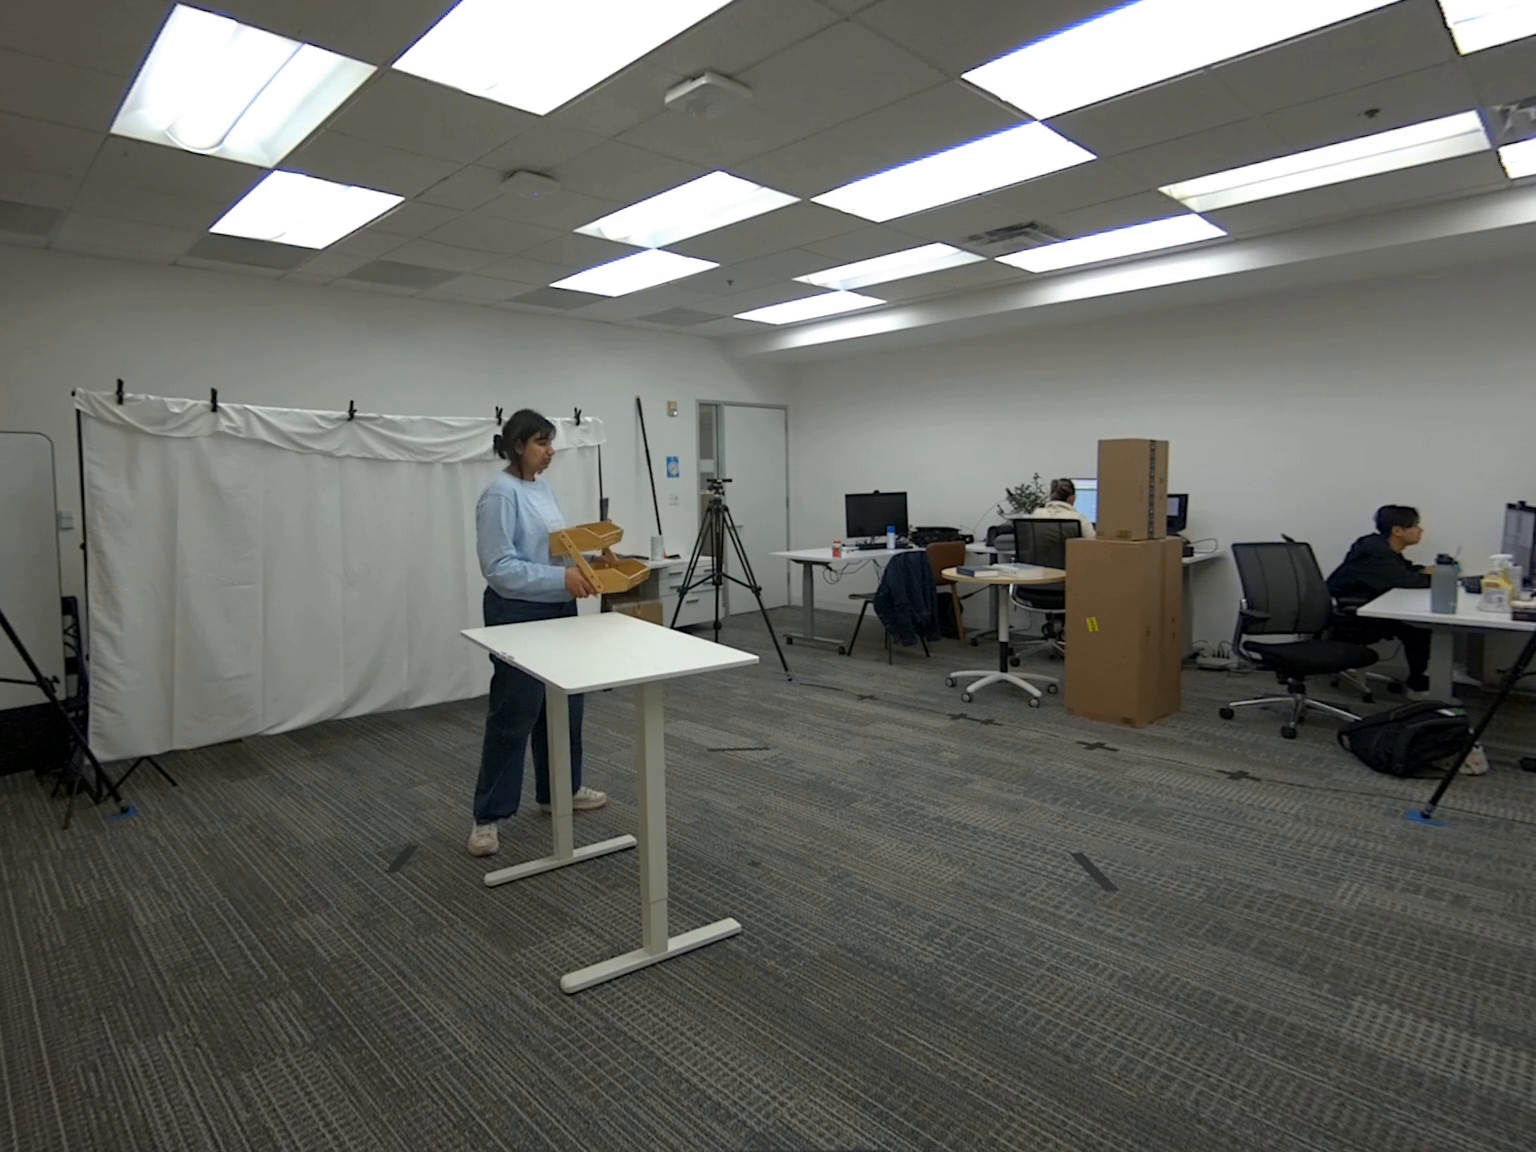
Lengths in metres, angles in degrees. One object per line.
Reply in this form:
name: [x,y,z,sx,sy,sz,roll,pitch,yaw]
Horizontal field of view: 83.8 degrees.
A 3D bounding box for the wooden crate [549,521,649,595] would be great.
wooden crate: [-0.685,-0.080,3.447,0.305,0.272,0.323,-7,7,11]
